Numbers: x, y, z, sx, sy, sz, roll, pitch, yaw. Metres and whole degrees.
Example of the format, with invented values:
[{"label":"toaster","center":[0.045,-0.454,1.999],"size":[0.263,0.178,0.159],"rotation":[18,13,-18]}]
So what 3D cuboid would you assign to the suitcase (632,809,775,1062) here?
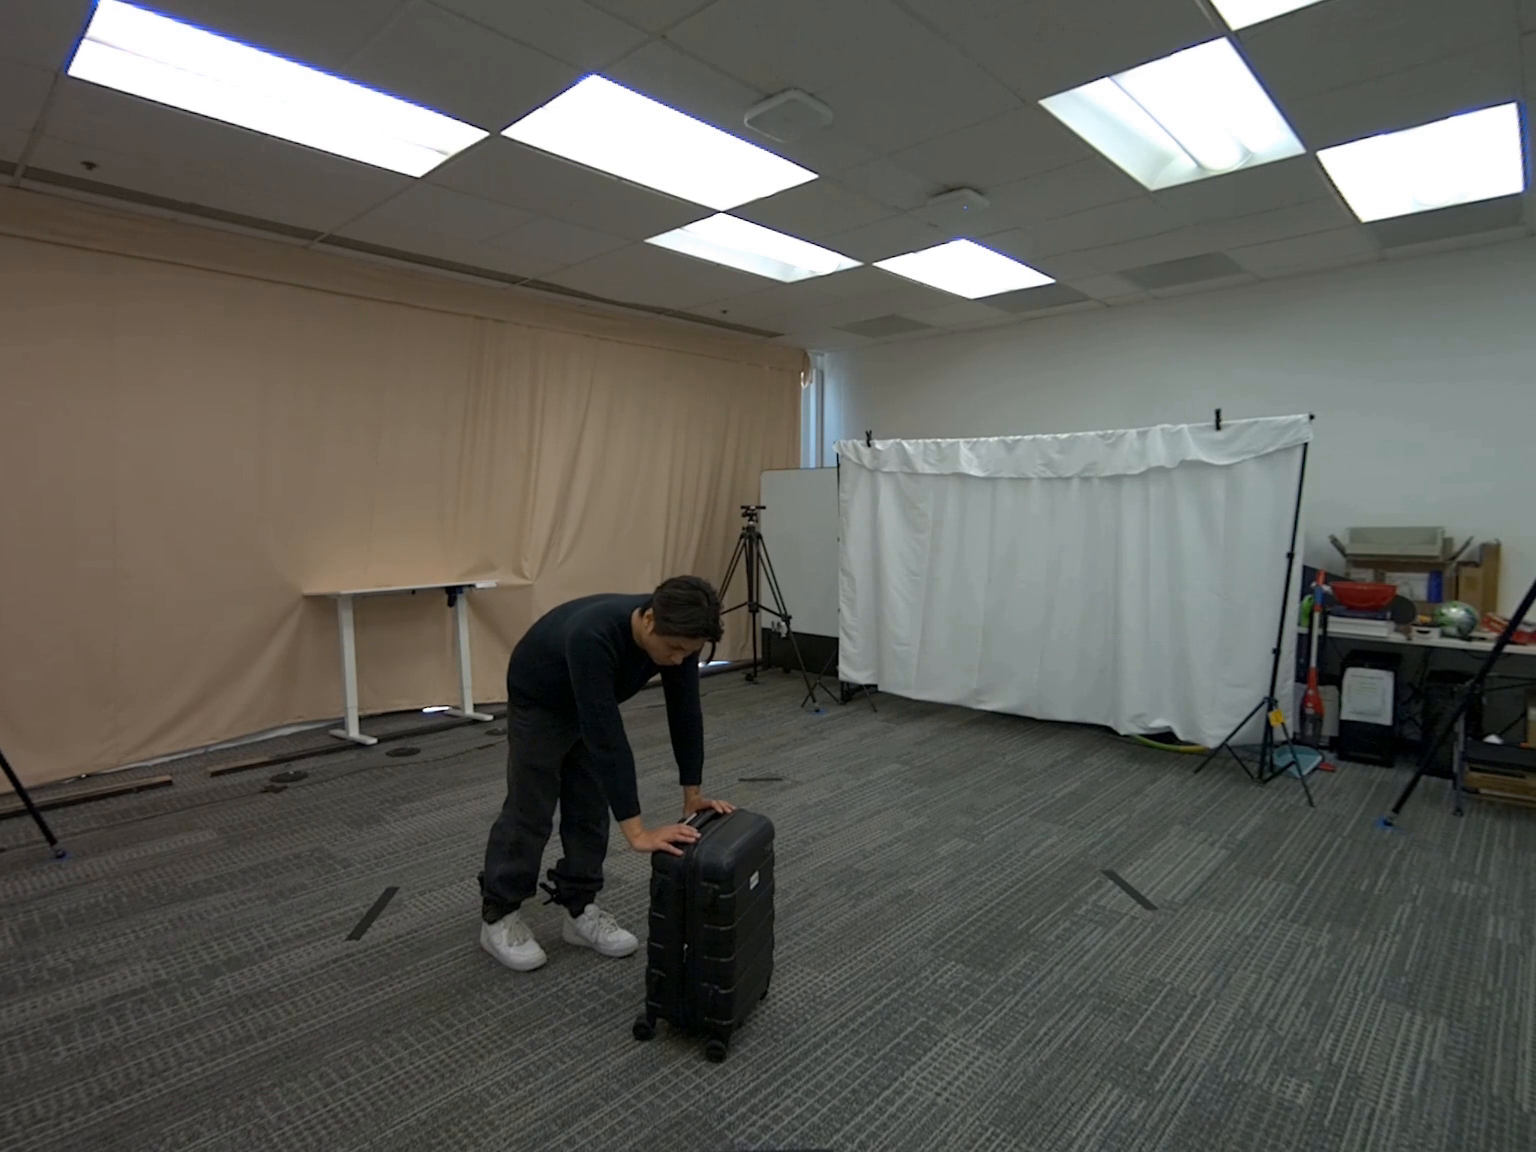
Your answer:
[{"label":"suitcase","center":[-0.147,0.930,2.276],"size":[0.255,0.548,0.367],"rotation":[3,4,24]}]
